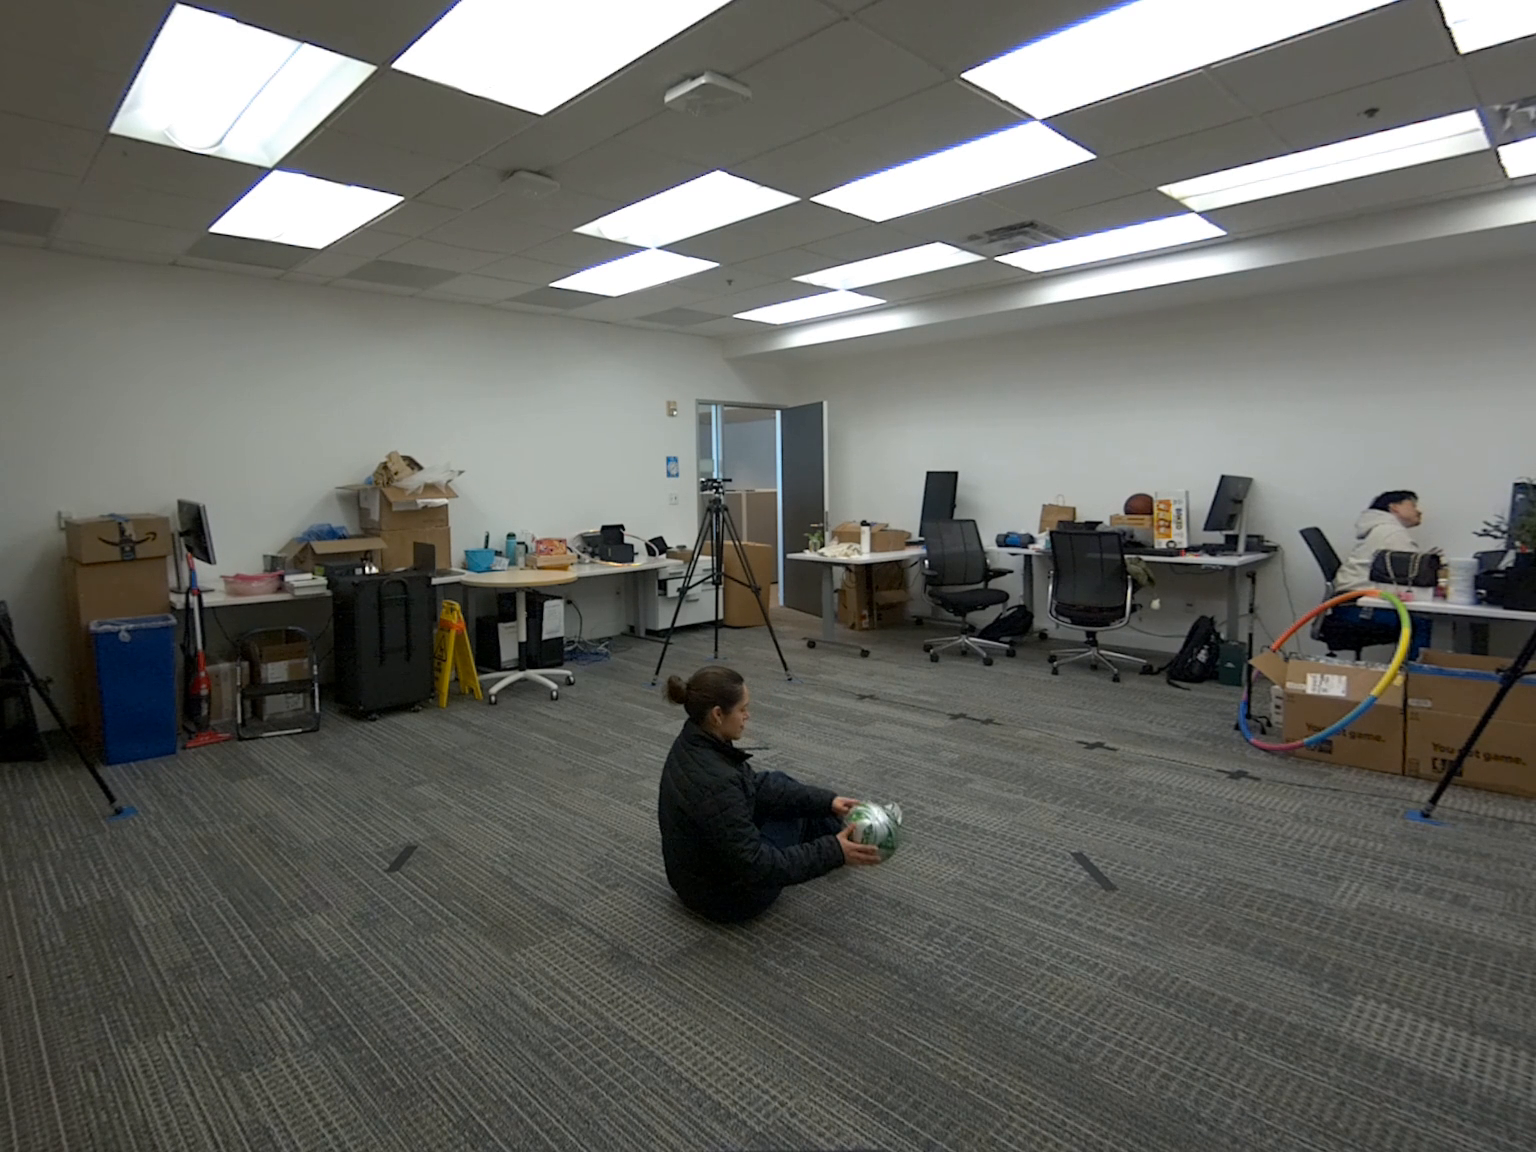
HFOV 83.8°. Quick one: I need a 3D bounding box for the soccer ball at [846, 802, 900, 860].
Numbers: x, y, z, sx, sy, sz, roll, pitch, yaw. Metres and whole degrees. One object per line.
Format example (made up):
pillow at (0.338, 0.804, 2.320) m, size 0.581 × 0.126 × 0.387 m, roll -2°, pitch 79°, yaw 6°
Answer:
soccer ball at (0.306, 0.808, 2.689) m, size 0.187 × 0.187 × 0.188 m, roll 0°, pitch 1°, yaw -2°
